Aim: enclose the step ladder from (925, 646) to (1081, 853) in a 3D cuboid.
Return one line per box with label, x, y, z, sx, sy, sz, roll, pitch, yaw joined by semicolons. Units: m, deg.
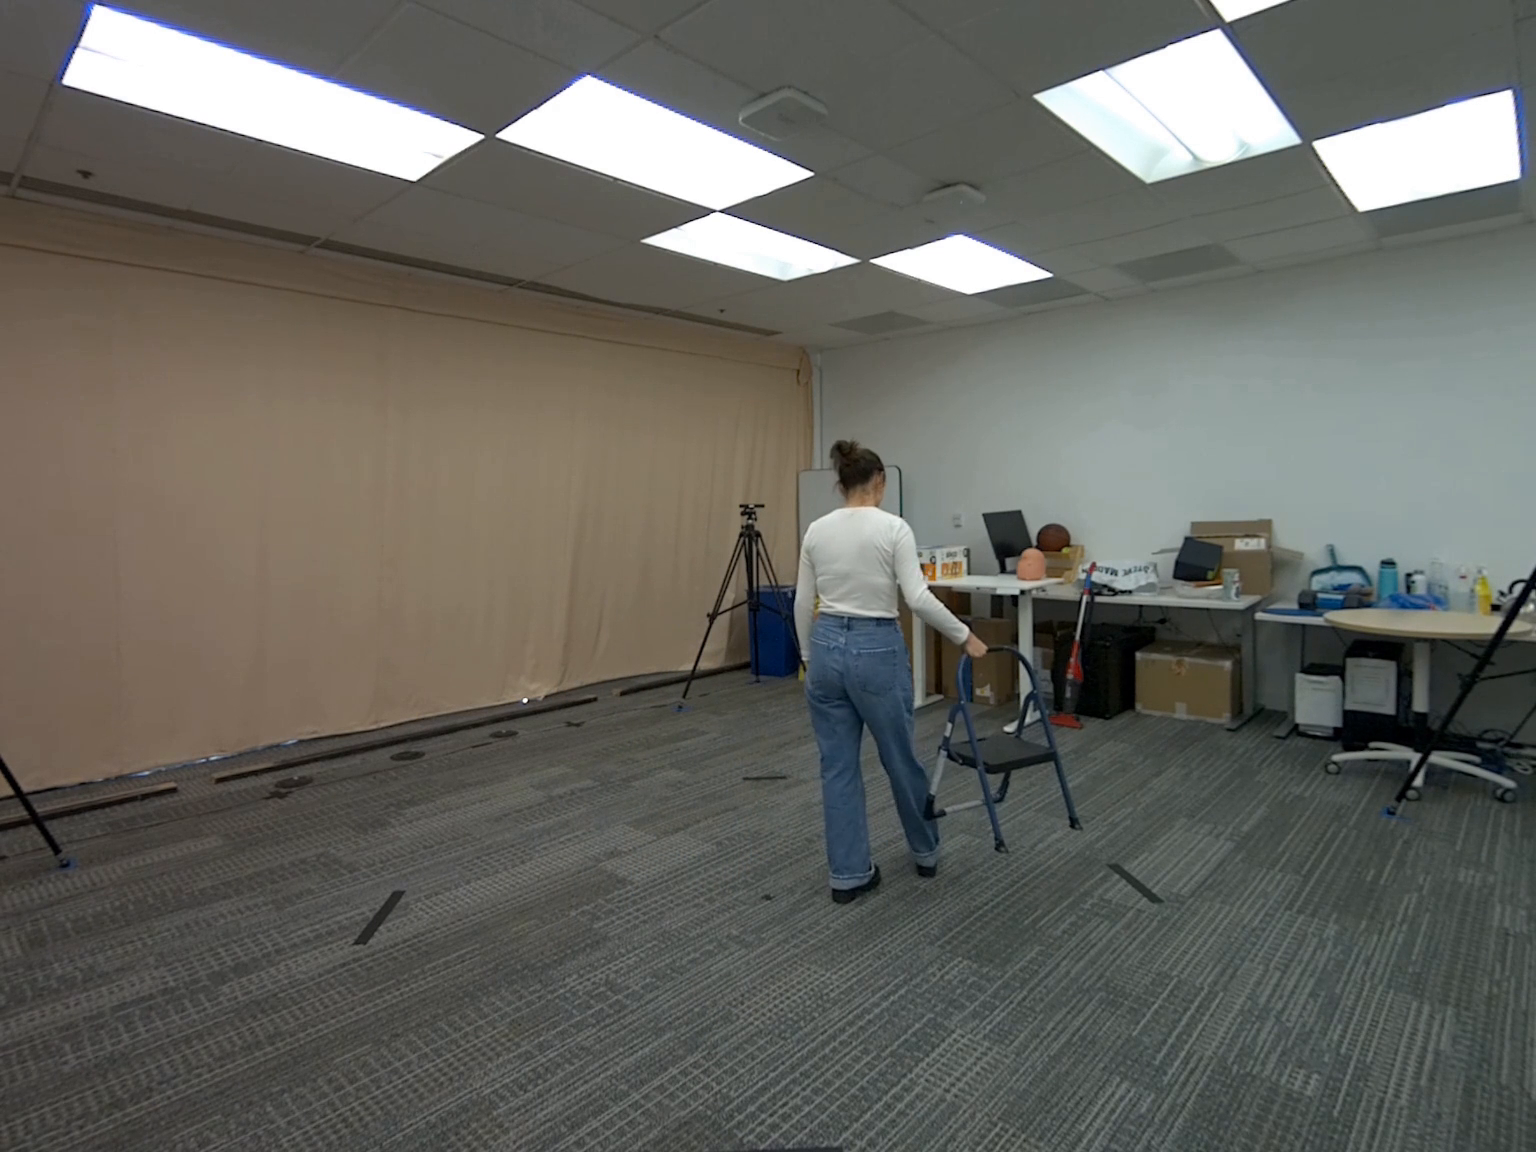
step ladder;0.823;0.568;2.894;0.418;0.605;0.360;0;3;-35
